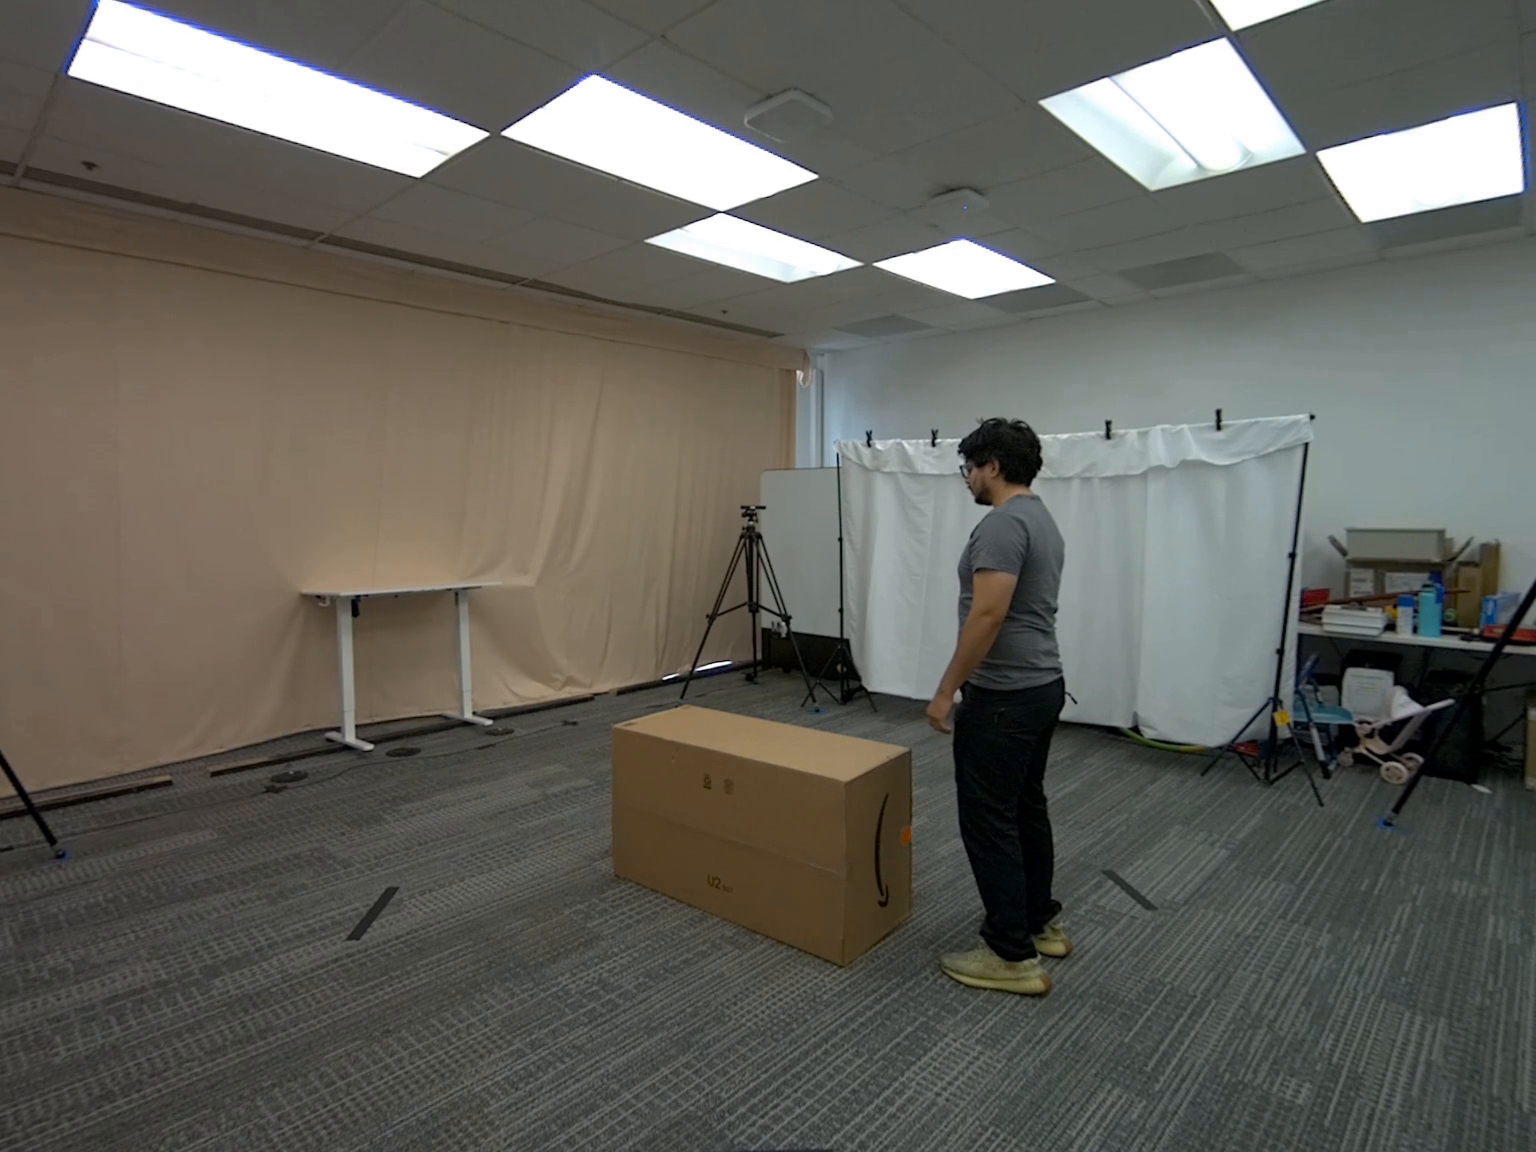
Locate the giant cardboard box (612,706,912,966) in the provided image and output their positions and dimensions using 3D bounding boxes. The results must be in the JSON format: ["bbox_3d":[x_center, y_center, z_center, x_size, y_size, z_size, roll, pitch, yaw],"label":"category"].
[{"bbox_3d":[-0.047,0.851,3.006,1.059,0.576,0.413,3,4,39],"label":"giant cardboard box"}]
